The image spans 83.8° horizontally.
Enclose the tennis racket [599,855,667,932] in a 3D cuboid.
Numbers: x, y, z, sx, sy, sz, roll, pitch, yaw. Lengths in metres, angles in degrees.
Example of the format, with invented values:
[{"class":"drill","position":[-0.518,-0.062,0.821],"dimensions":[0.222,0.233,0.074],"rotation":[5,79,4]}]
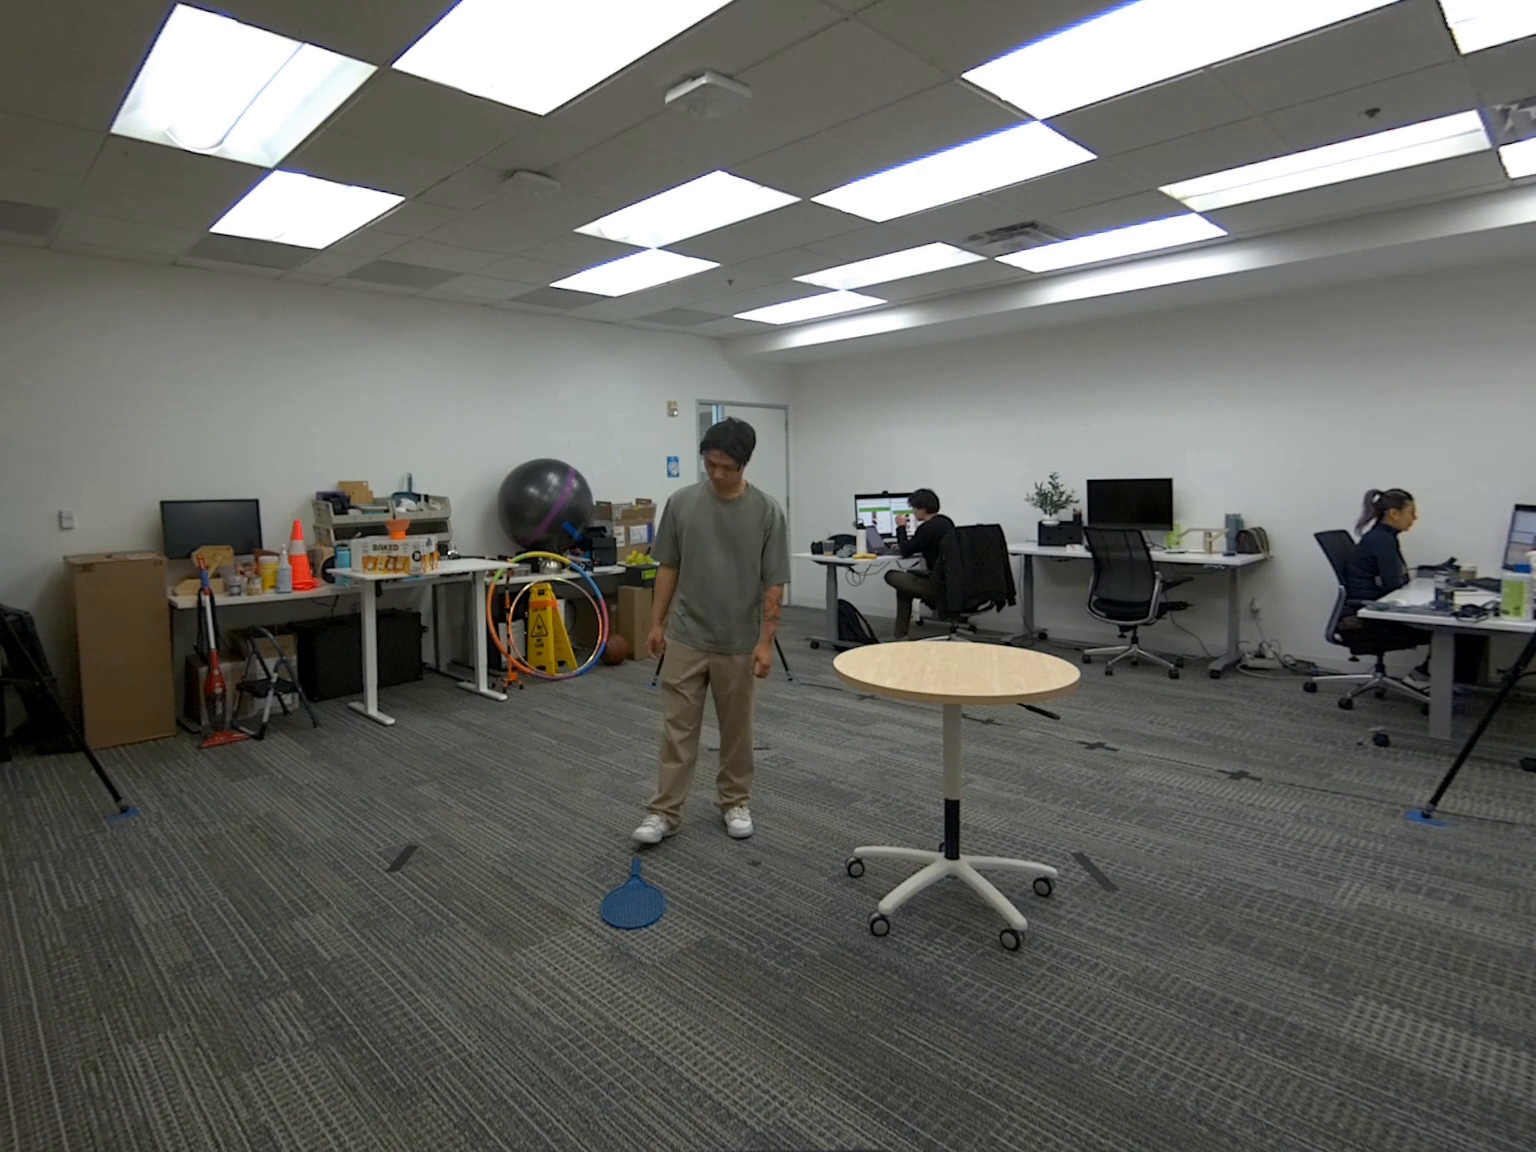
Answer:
[{"class":"tennis racket","position":[-0.447,1.065,2.884],"dimensions":[0.212,0.031,0.438],"rotation":[-2,7,-7]}]
